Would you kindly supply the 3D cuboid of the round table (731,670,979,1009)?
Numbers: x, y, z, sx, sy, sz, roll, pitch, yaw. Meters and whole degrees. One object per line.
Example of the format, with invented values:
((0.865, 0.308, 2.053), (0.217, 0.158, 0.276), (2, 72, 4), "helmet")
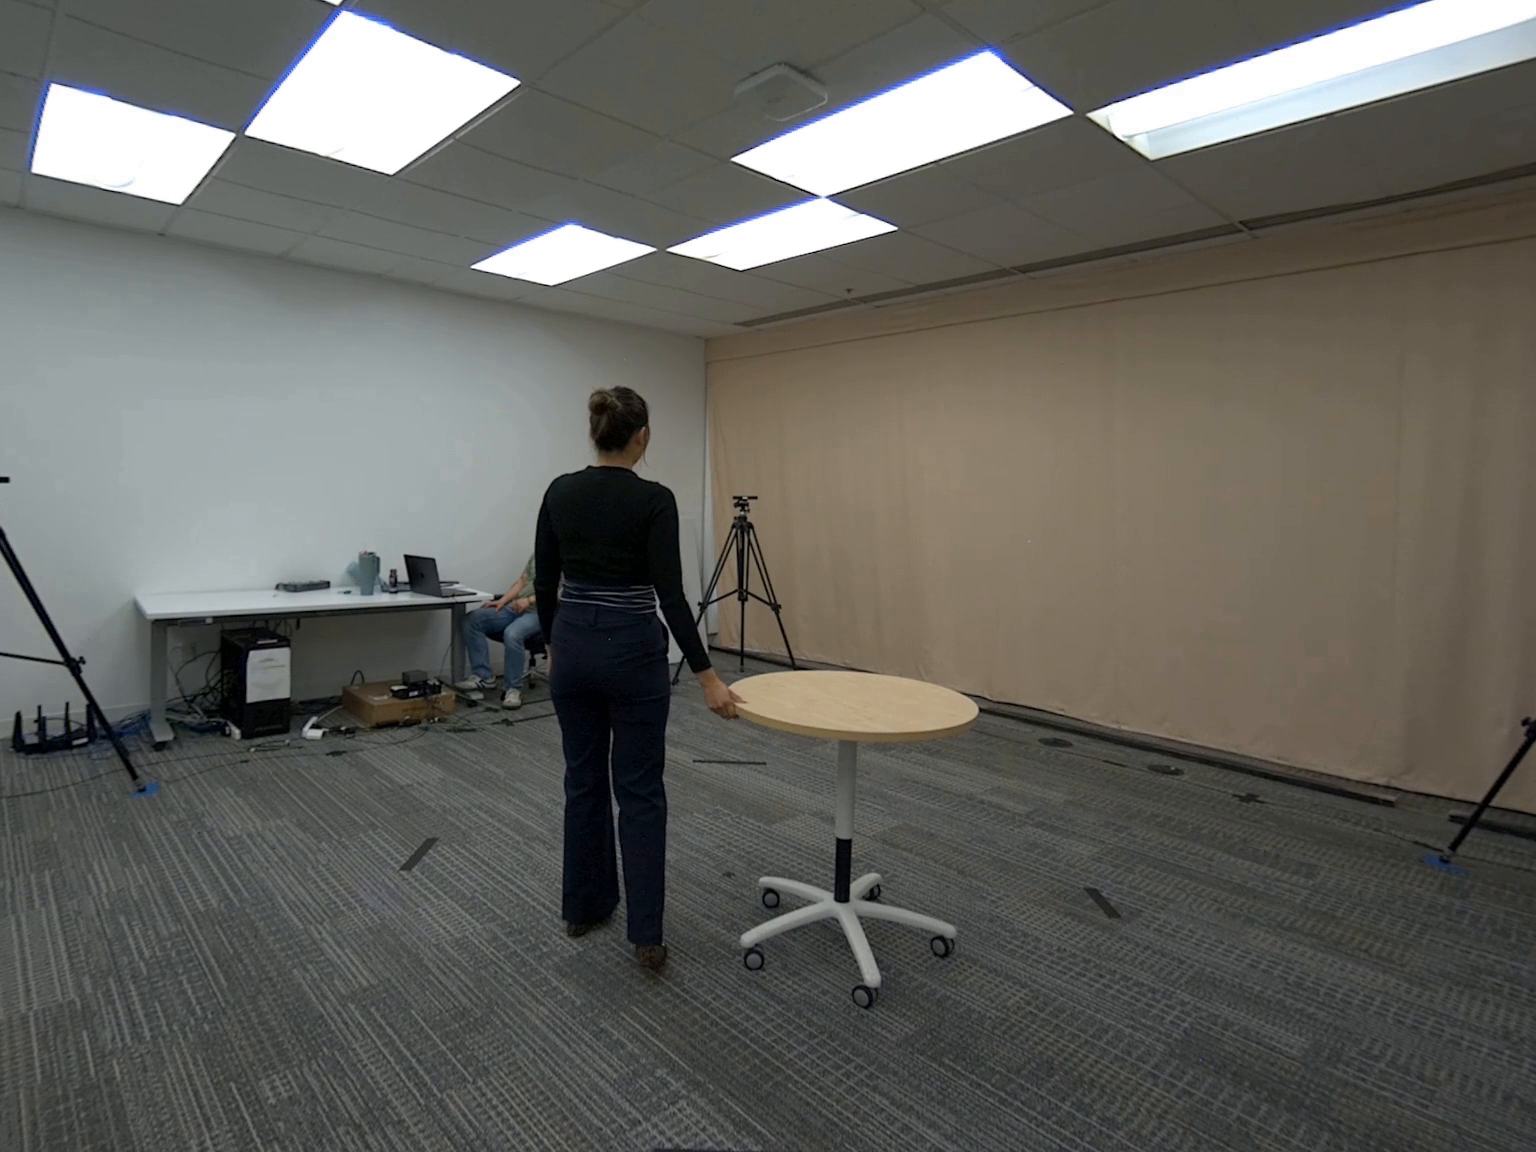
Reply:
((0.241, 0.770, 2.624), (0.763, 0.792, 0.767), (2, 4, -1), "round table")
